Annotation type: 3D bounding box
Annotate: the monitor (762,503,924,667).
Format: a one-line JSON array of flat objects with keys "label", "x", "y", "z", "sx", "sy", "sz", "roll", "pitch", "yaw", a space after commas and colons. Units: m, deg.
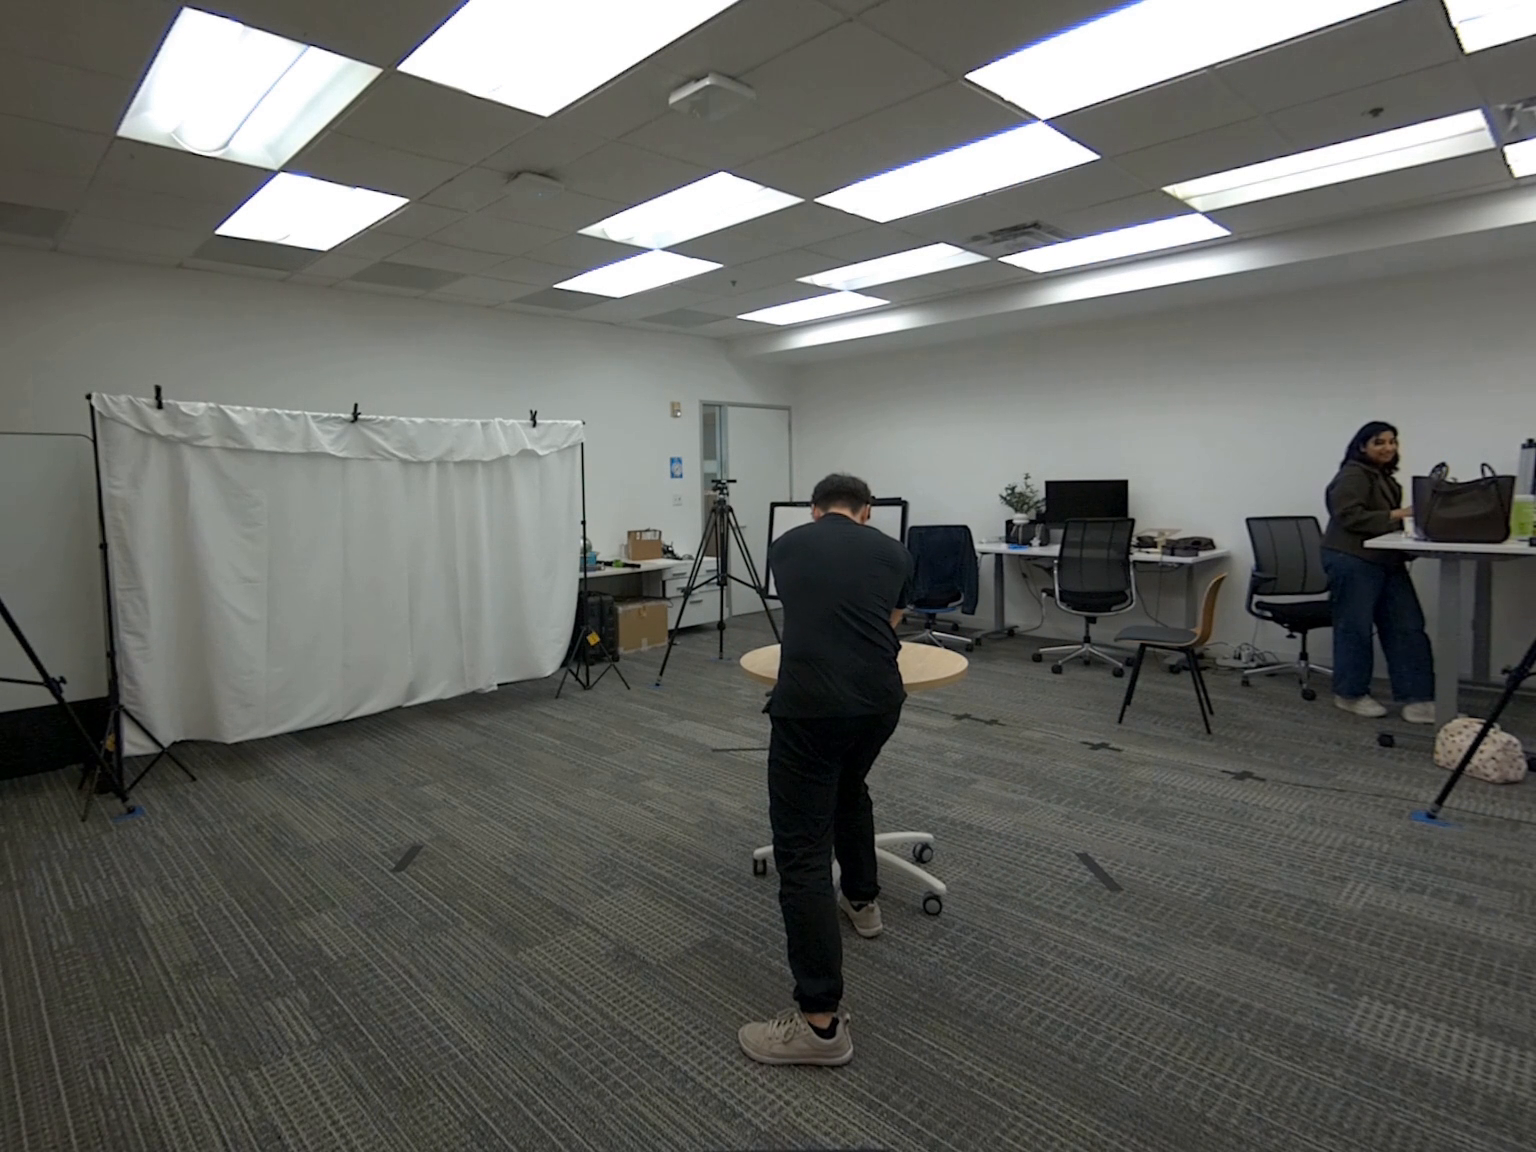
[{"label": "monitor", "x": 0.259, "y": 0.008, "z": 3.048, "sx": 0.555, "sy": 0.520, "sz": 0.182, "roll": 3, "pitch": 7, "yaw": 36}]
